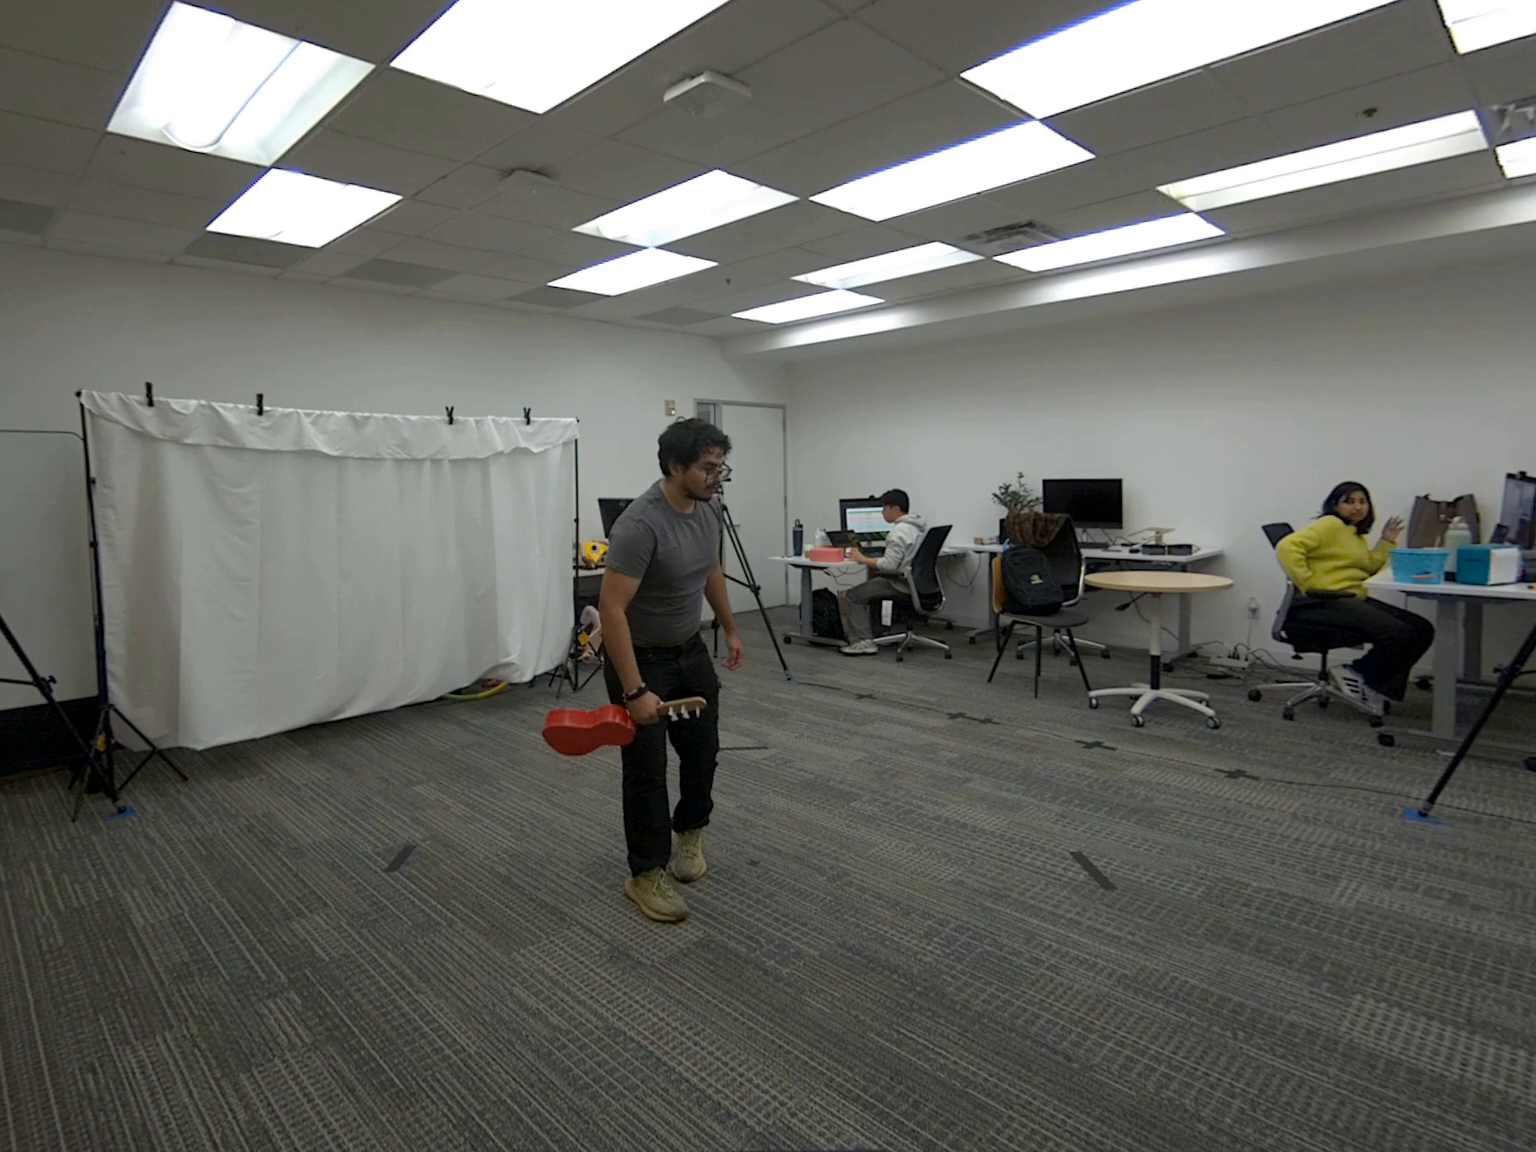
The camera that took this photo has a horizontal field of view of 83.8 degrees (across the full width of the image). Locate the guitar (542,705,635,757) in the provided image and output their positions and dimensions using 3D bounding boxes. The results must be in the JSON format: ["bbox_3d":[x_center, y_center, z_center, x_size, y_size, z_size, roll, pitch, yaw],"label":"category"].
[{"bbox_3d":[-0.438,0.428,2.556,0.503,0.072,0.185,-17,-43,18],"label":"guitar"}]
